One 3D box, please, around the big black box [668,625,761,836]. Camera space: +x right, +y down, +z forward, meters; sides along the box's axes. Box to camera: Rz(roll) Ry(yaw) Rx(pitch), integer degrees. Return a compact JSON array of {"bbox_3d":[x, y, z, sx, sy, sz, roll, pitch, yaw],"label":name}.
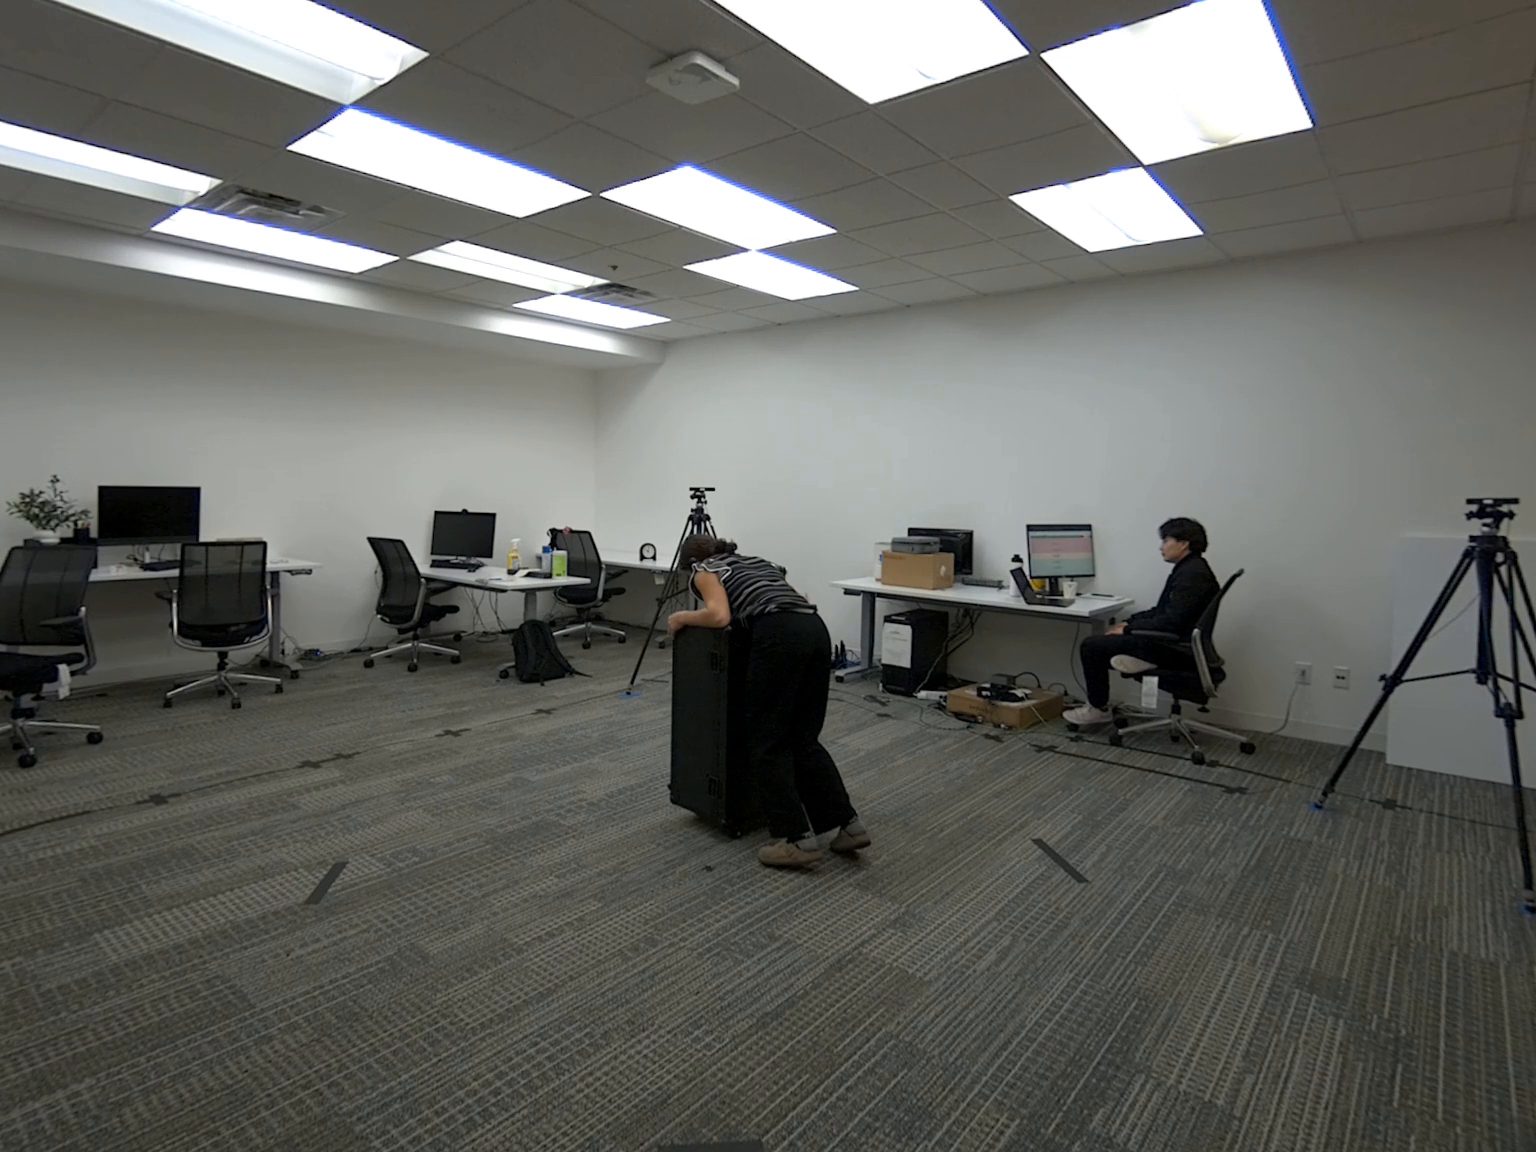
[{"bbox_3d":[-0.136,0.609,3.587,0.505,0.860,0.409,-2,3,-41],"label":"big black box"}]
